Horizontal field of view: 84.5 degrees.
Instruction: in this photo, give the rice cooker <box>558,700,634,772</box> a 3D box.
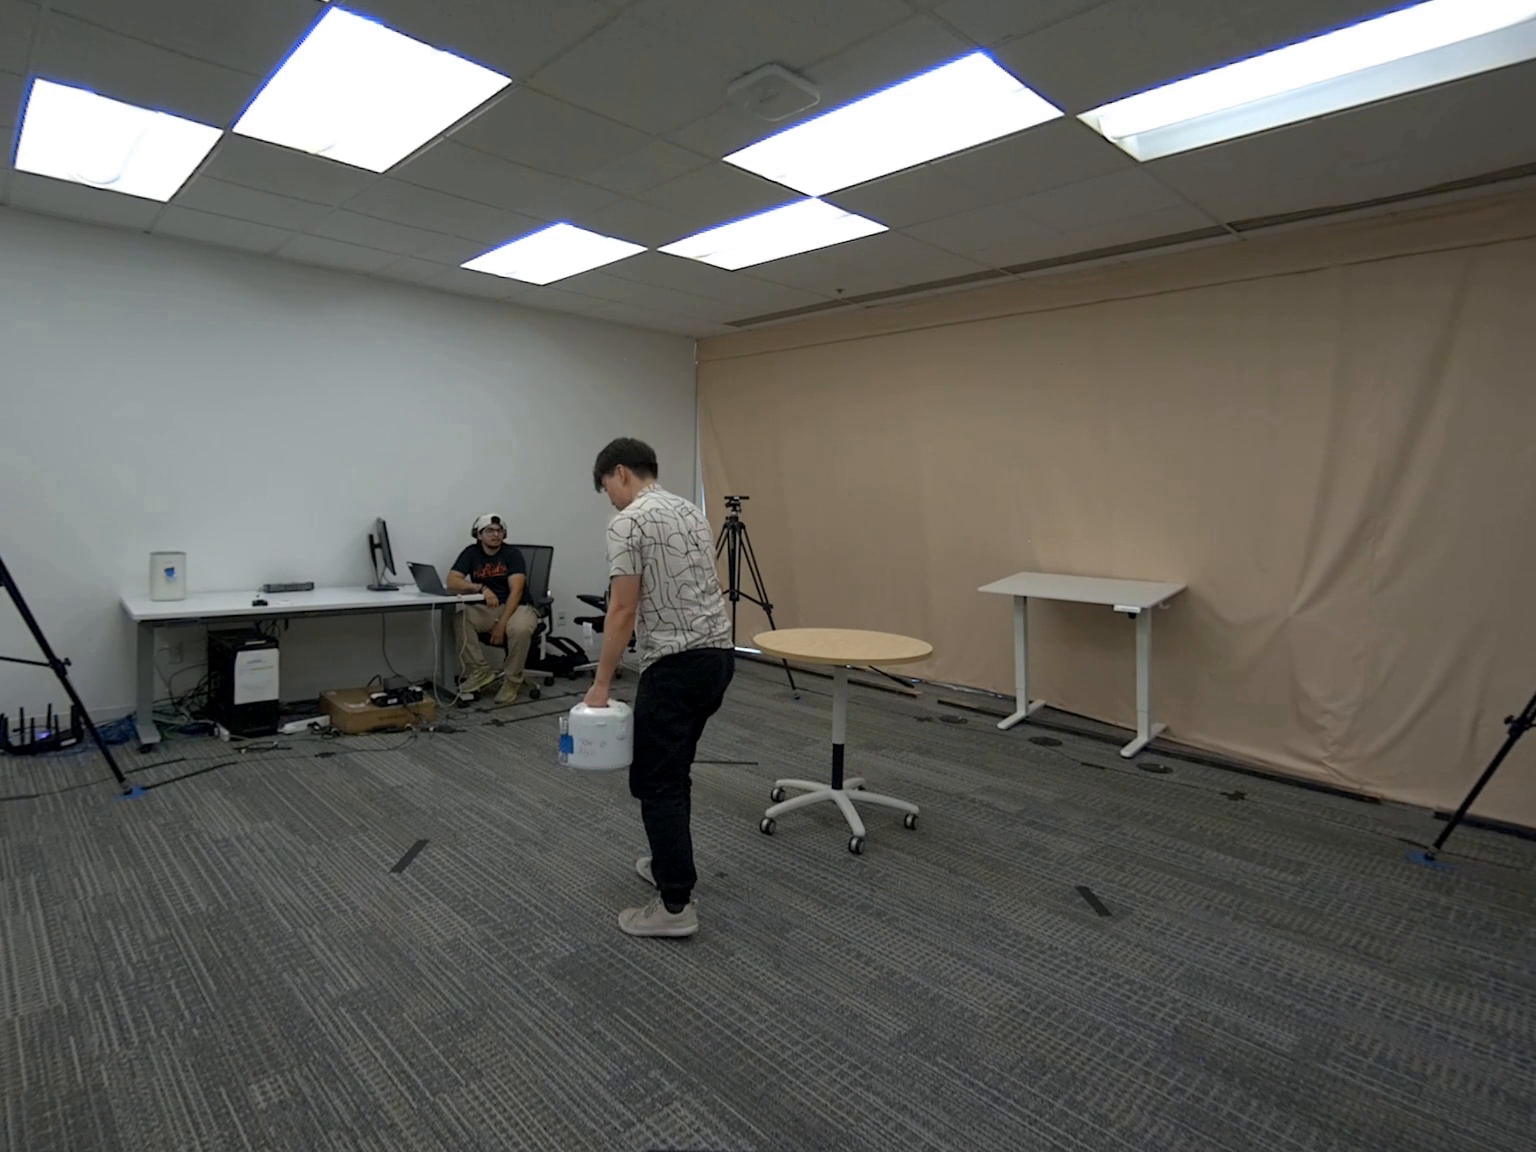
[{"bbox_3d":[-0.551,0.509,2.726,0.226,0.233,0.212,0,-1,42],"label":"rice cooker"}]
